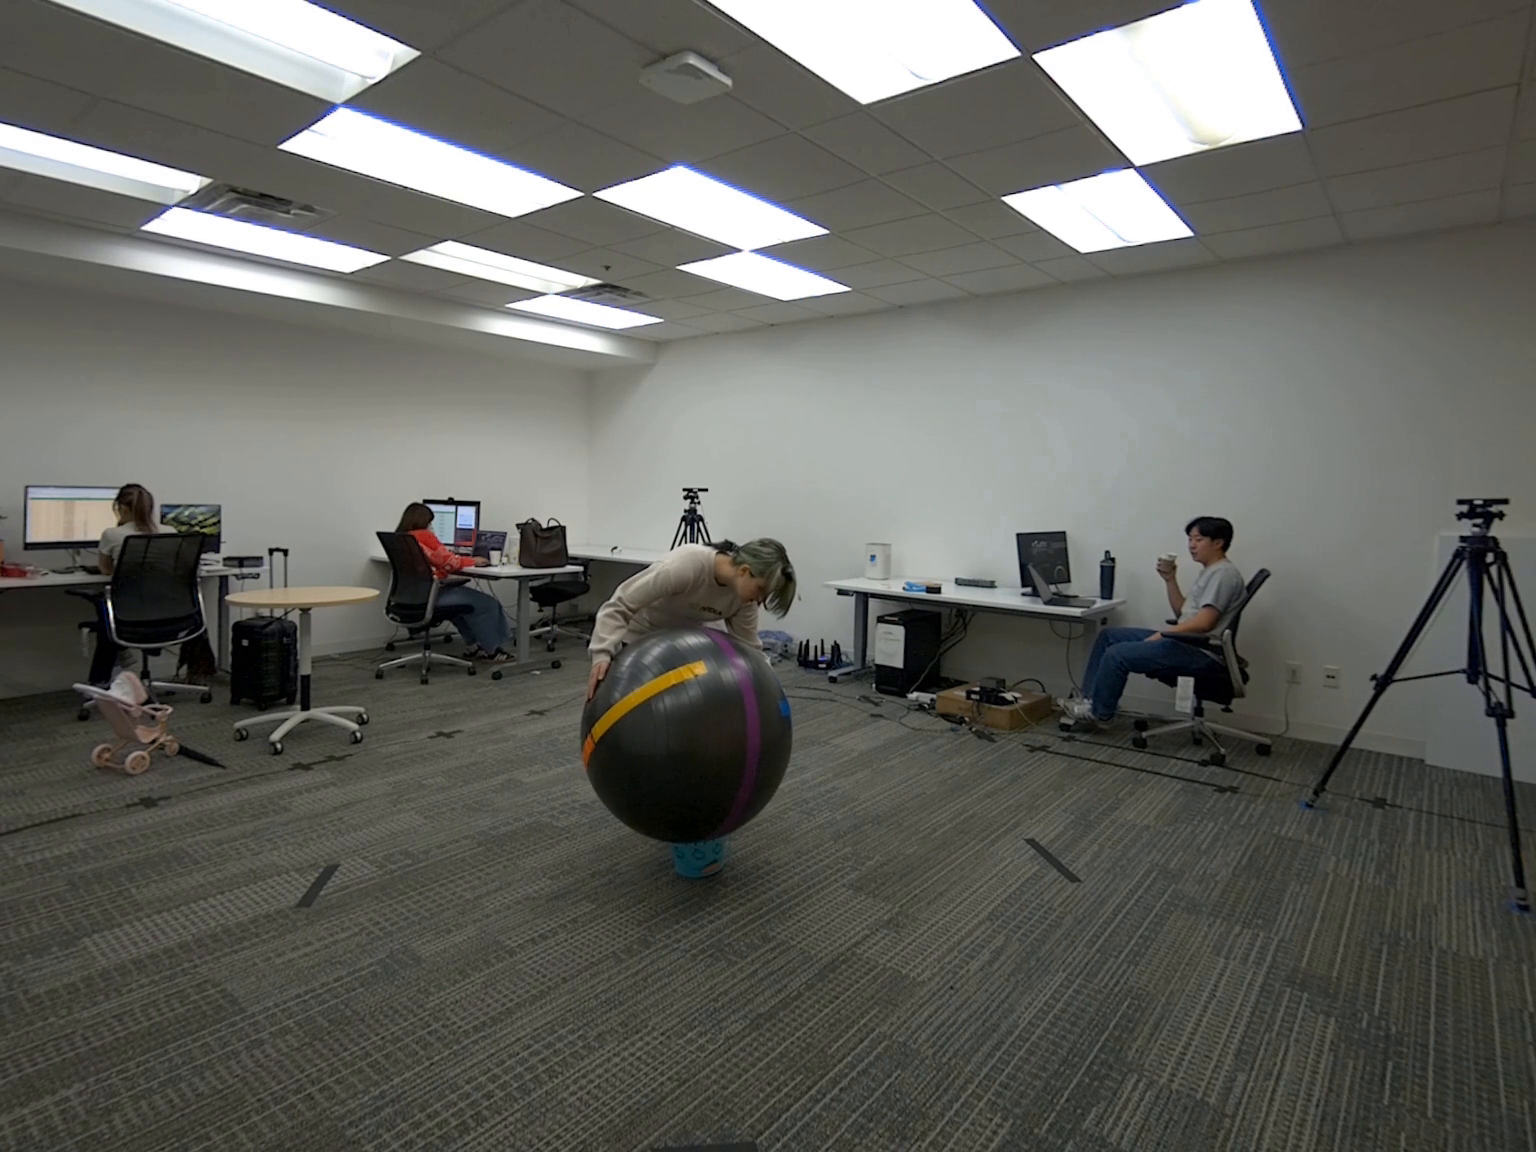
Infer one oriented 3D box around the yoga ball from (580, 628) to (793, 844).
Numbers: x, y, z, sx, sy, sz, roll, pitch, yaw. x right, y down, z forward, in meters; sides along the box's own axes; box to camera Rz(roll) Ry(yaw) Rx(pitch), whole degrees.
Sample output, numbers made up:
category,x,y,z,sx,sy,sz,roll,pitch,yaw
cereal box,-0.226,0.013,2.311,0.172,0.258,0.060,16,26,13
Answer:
category,x,y,z,sx,sy,sz,roll,pitch,yaw
yoga ball,-0.300,0.558,3.051,0.757,0.756,0.762,1,4,-2
